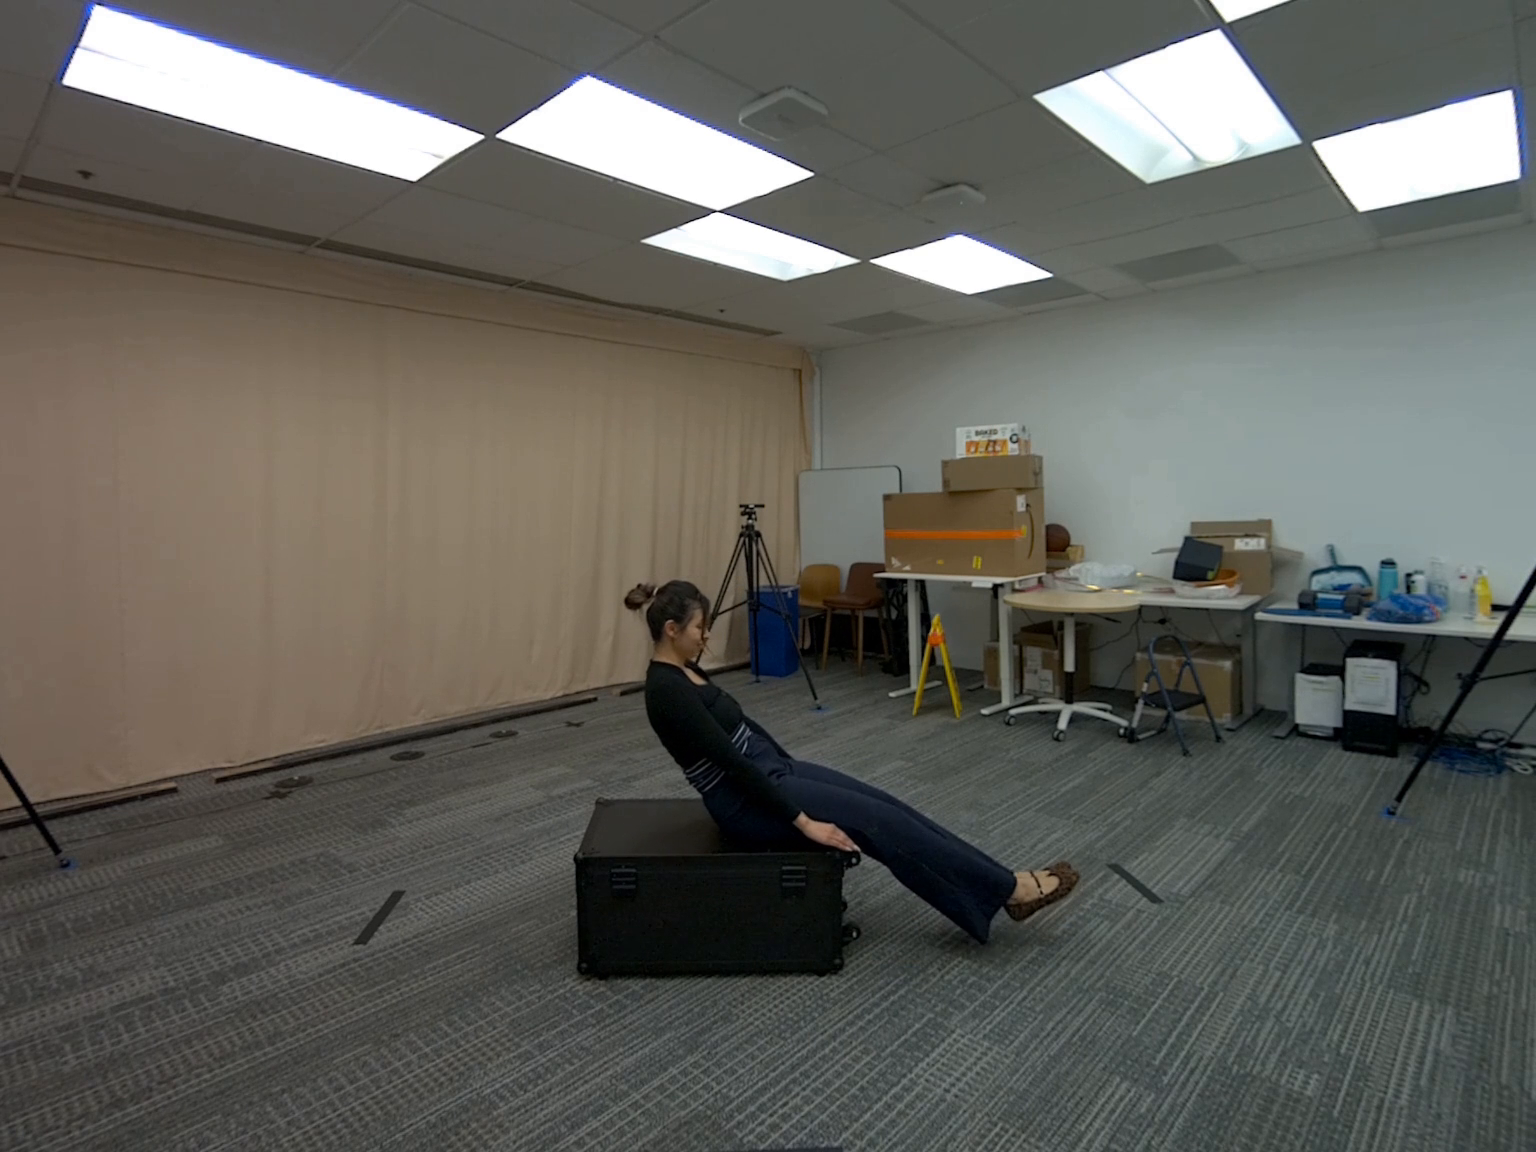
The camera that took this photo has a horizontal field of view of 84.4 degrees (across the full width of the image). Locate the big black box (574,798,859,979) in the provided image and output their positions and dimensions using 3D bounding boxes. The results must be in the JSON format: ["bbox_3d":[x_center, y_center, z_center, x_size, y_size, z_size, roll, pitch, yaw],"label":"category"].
[{"bbox_3d":[-0.156,0.975,2.699,0.861,0.395,0.523,-2,4,-1],"label":"big black box"}]
